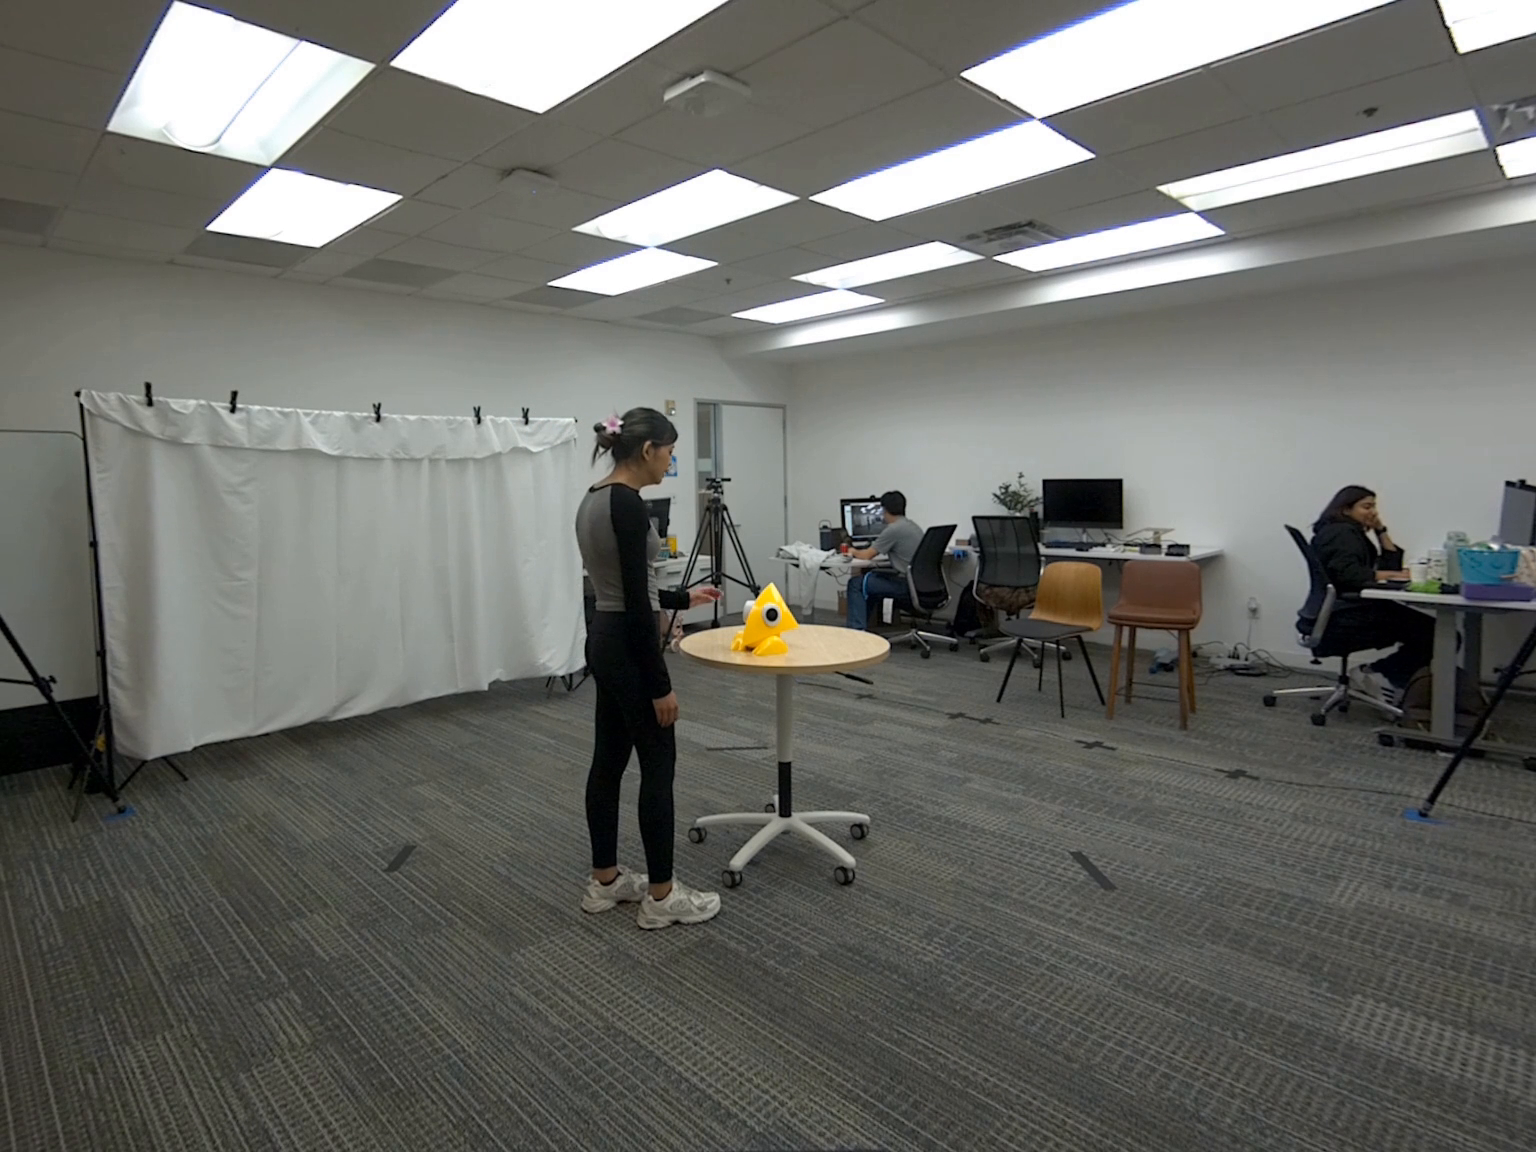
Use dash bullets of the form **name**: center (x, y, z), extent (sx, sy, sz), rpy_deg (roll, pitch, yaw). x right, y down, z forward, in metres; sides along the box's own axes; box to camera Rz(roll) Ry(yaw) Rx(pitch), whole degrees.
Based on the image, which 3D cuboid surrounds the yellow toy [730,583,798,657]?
- **yellow toy**: center (-0.024, 0.145, 3.022), extent (0.211, 0.230, 0.188), rpy_deg (5, 7, 43)
